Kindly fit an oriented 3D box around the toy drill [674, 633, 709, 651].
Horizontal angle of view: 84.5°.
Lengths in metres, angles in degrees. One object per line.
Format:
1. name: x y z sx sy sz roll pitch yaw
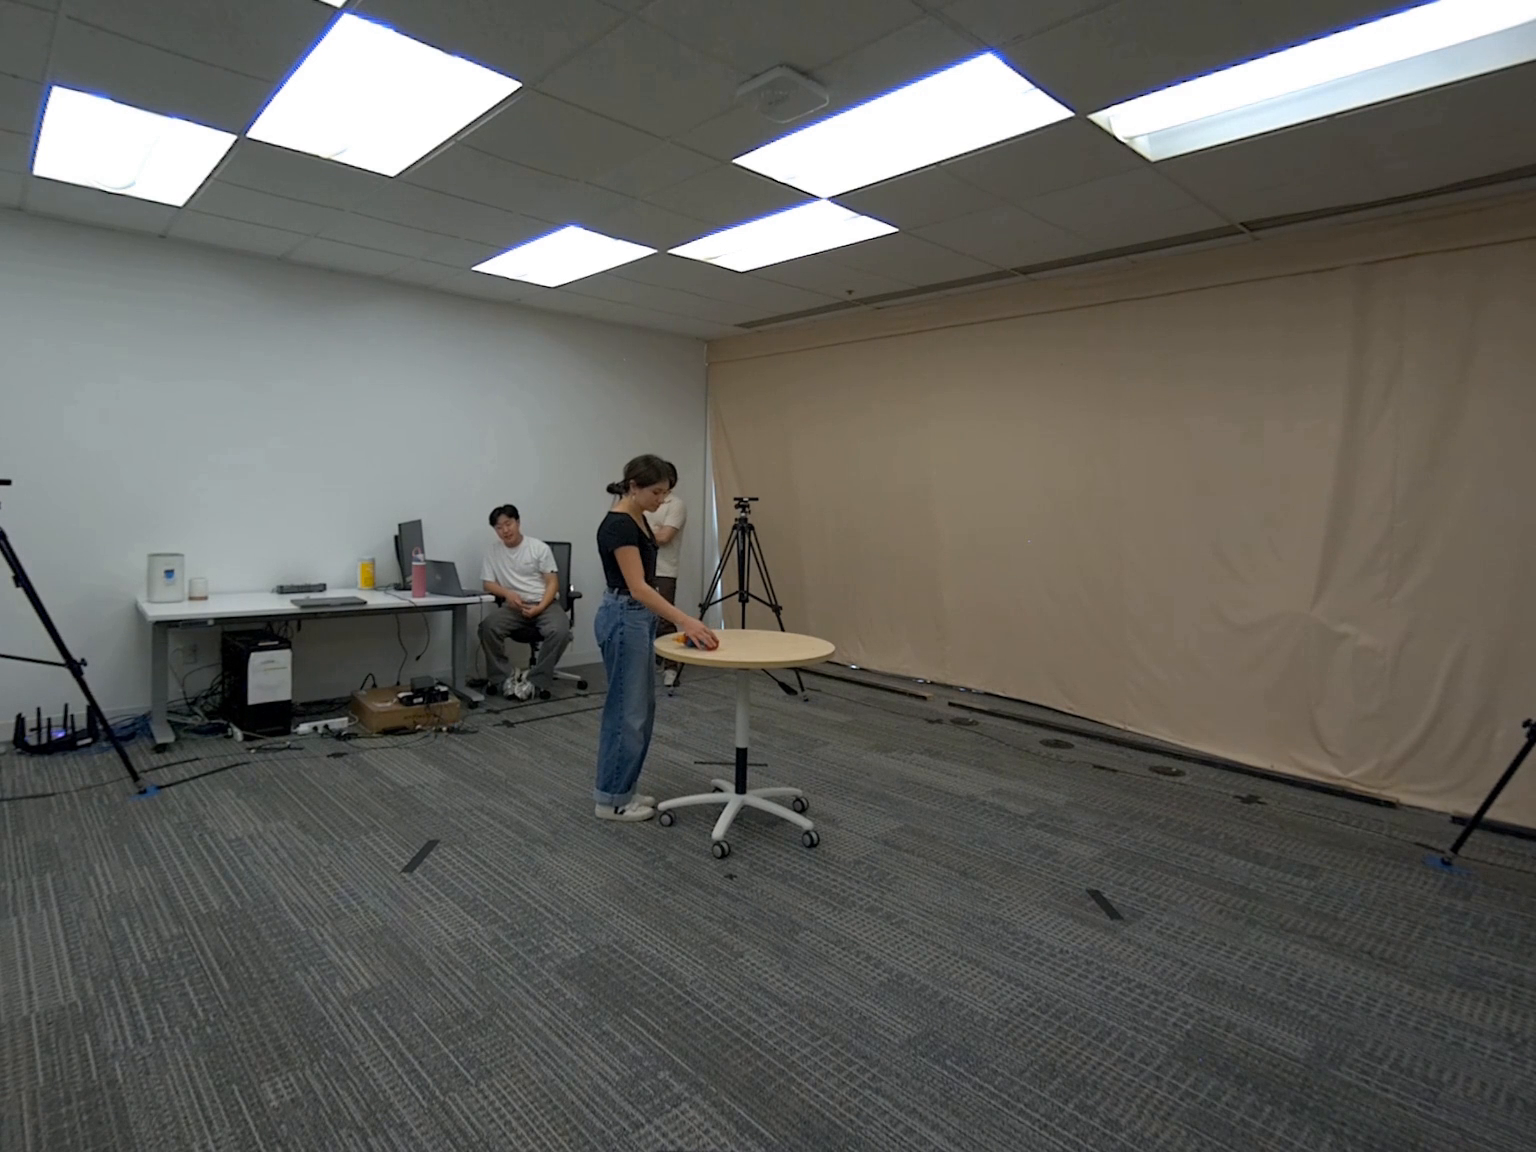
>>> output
1. toy drill: -0.310 0.269 3.422 0.165 0.061 0.150 7 3 -39
